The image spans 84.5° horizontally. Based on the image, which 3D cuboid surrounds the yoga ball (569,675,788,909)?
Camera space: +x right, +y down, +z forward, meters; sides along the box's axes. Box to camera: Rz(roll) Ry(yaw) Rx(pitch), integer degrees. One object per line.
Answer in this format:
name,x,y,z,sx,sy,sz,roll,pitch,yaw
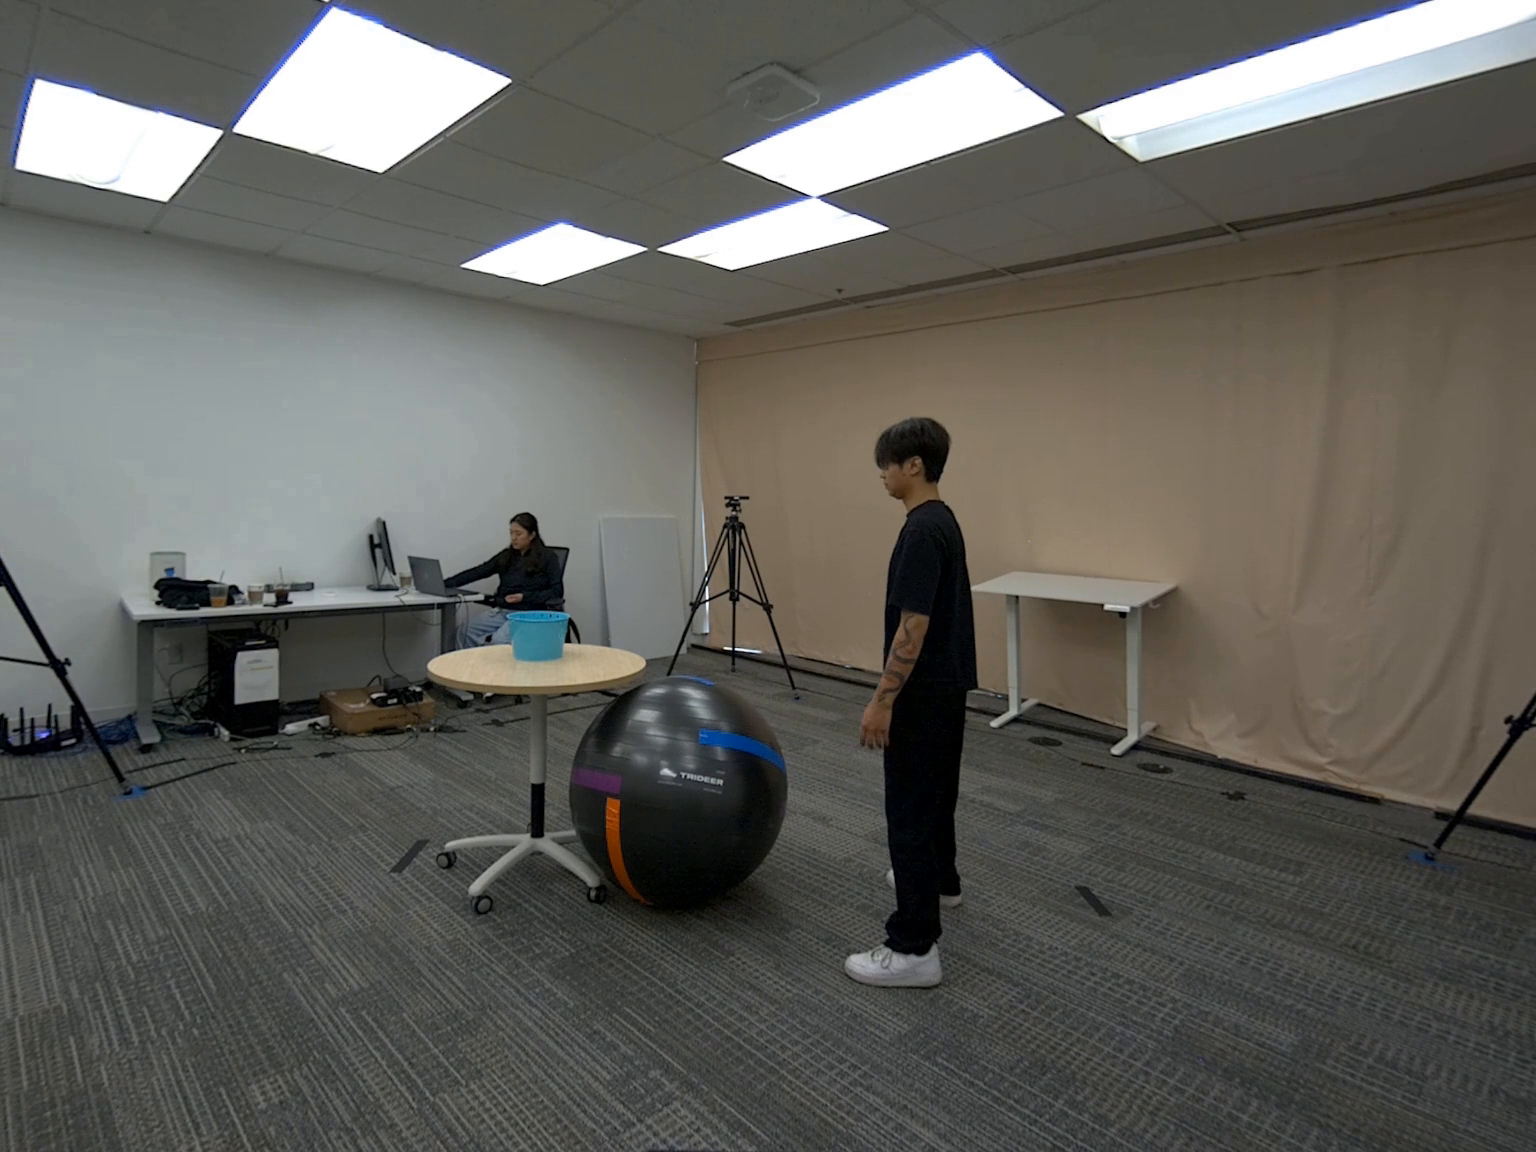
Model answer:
yoga ball,-0.318,0.744,2.941,0.757,0.756,0.761,1,4,-1
